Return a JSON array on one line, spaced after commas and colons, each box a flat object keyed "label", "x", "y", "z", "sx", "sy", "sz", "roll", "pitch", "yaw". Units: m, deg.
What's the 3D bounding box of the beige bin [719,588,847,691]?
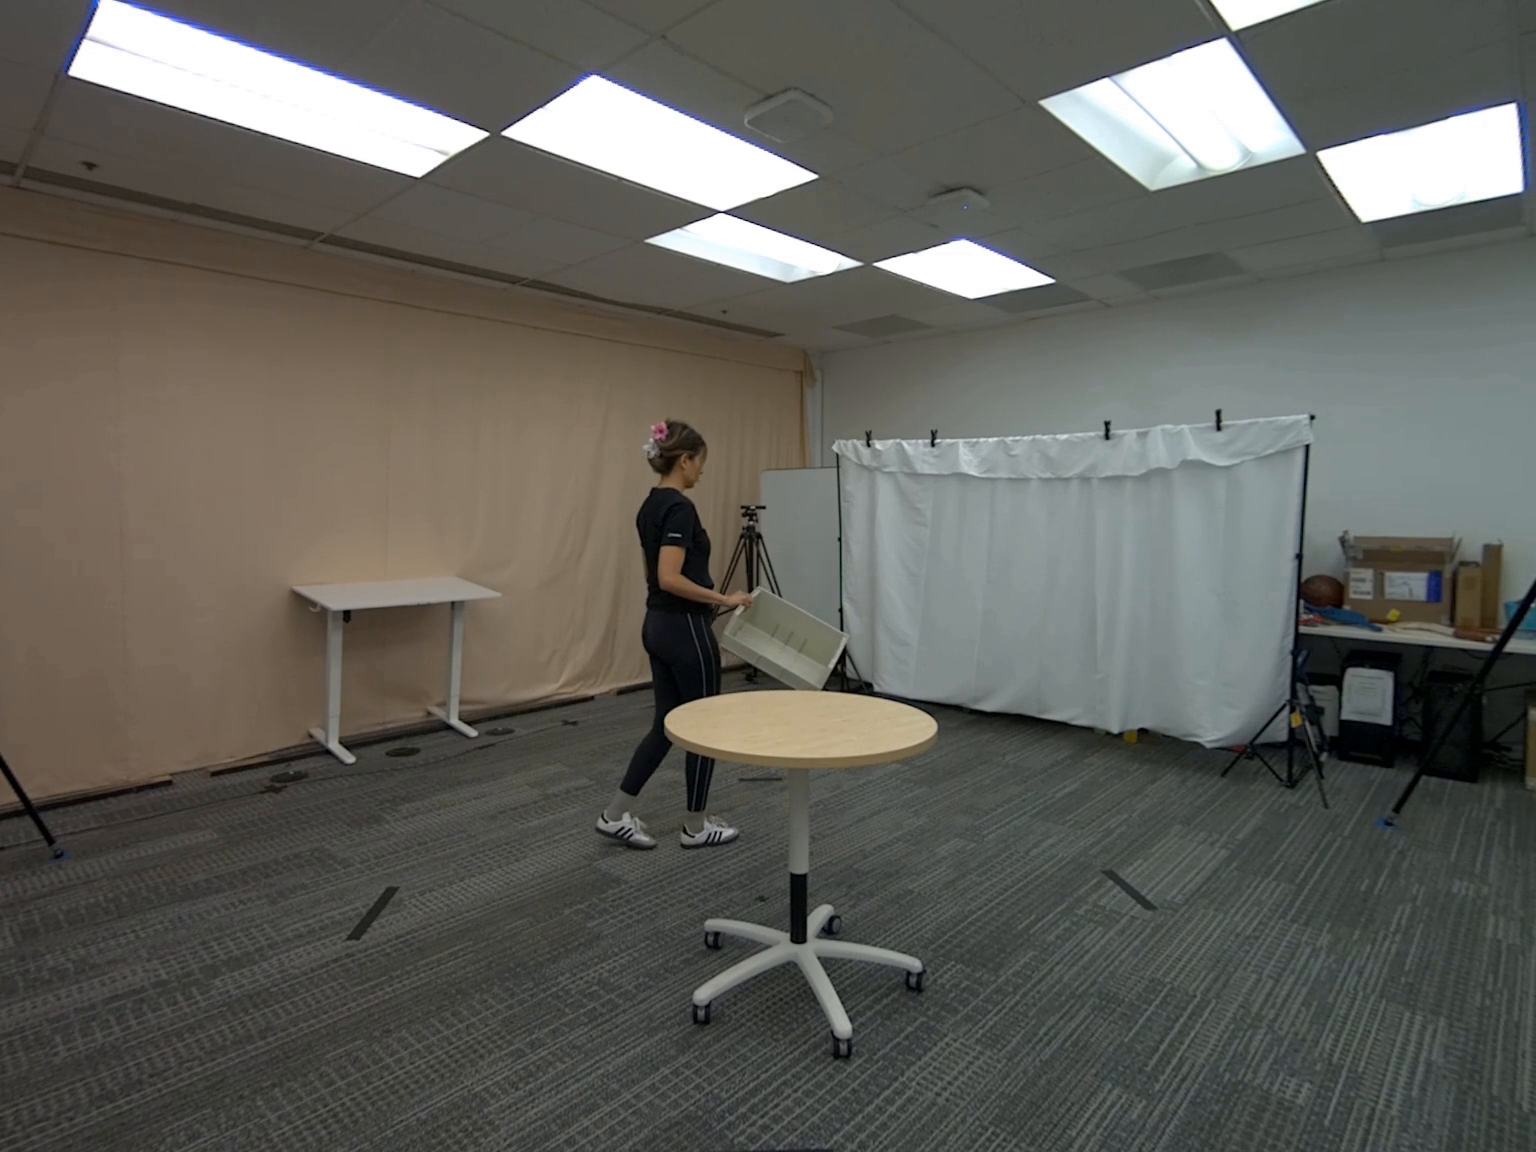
[{"label": "beige bin", "x": 0.062, "y": 0.272, "z": 3.300, "sx": 0.427, "sy": 0.188, "sz": 0.374, "roll": 27, "pitch": 22, "yaw": 8}]
